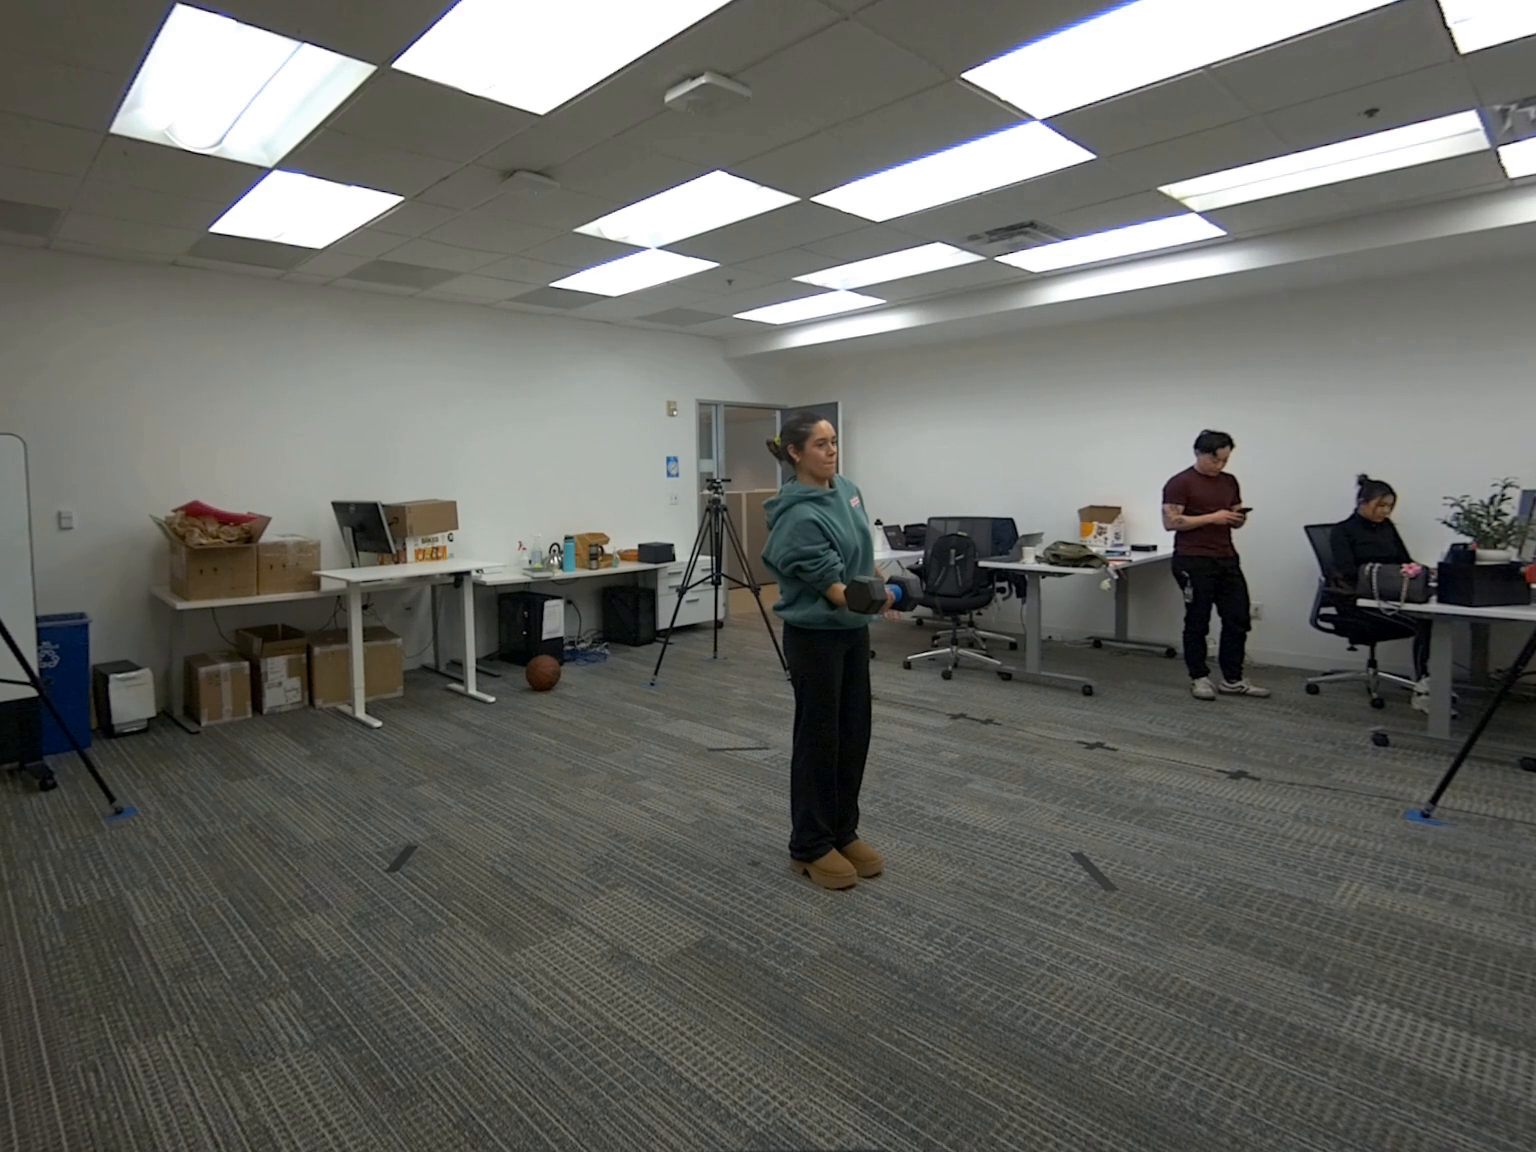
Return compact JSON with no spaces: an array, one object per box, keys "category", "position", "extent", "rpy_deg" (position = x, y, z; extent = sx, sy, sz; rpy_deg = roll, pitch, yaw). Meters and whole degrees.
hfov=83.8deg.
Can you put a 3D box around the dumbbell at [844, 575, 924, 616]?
[{"category":"dumbbell","position":[0.356,0.054,2.625],"extent":[0.127,0.108,0.285],"rpy_deg":[11,7,40]}]
